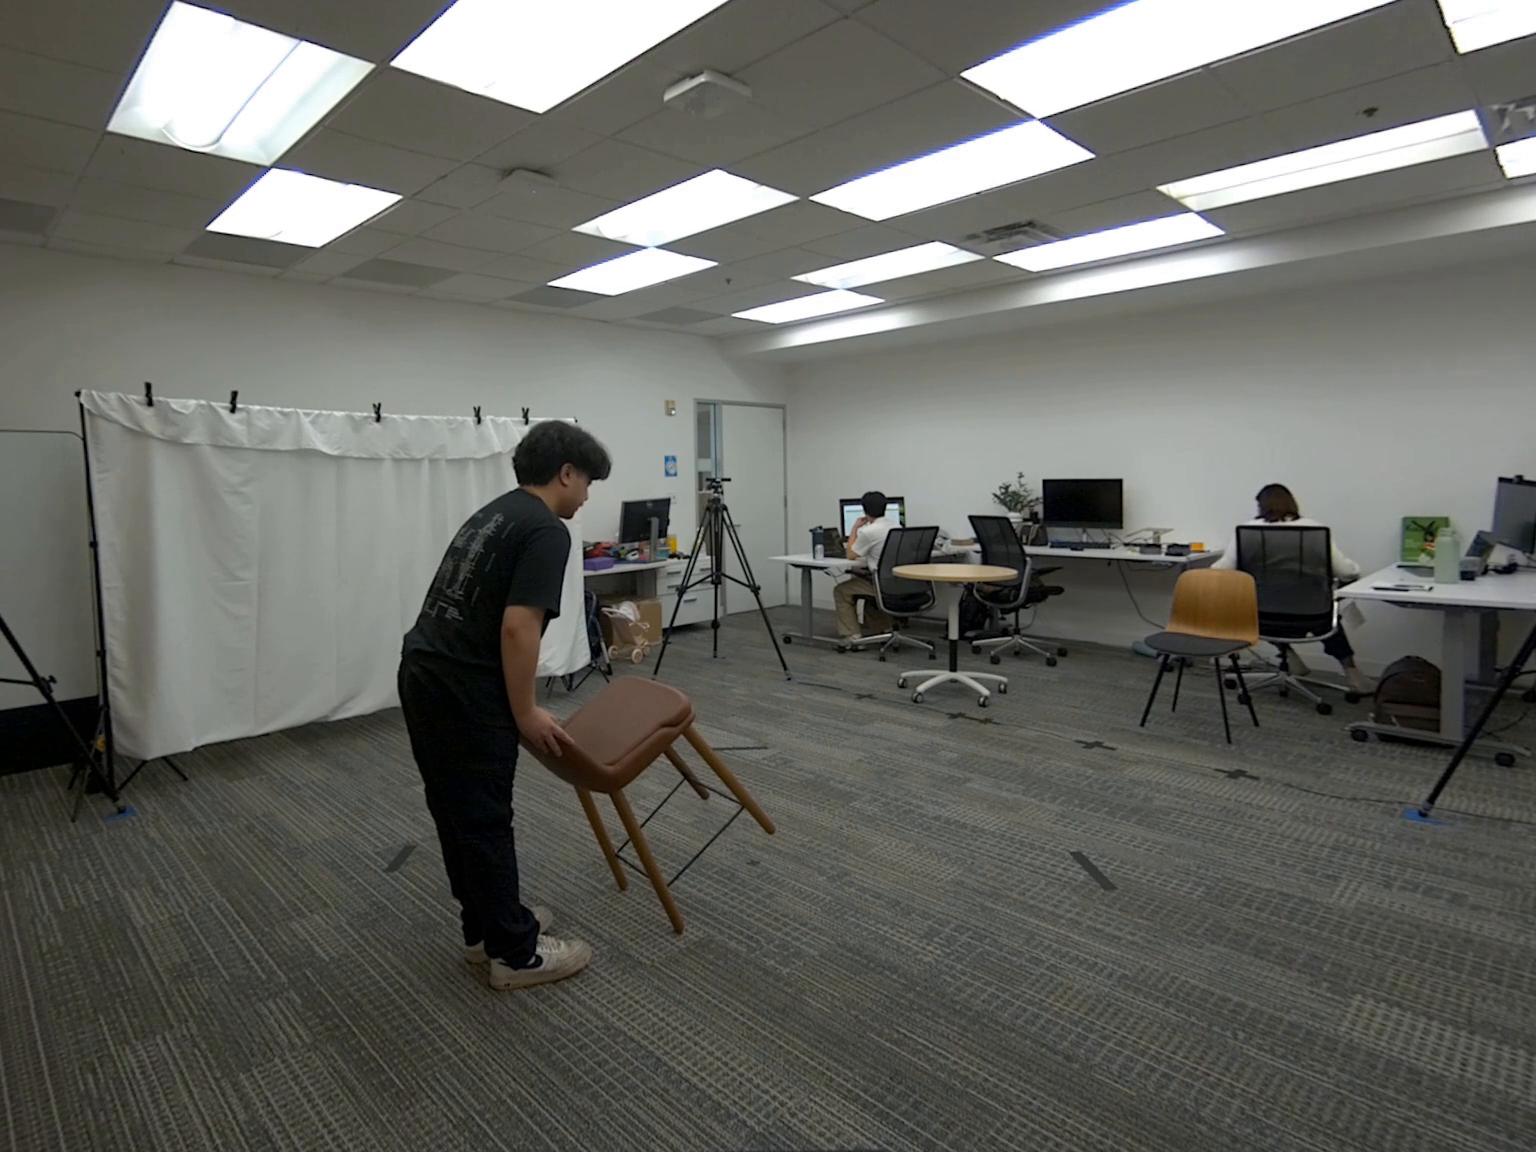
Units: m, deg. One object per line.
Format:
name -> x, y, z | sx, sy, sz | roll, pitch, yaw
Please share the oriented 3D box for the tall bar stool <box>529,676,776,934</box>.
tall bar stool -> -0.428, 0.610, 2.724 | 0.466, 0.866, 0.470 | -42, 27, -27
